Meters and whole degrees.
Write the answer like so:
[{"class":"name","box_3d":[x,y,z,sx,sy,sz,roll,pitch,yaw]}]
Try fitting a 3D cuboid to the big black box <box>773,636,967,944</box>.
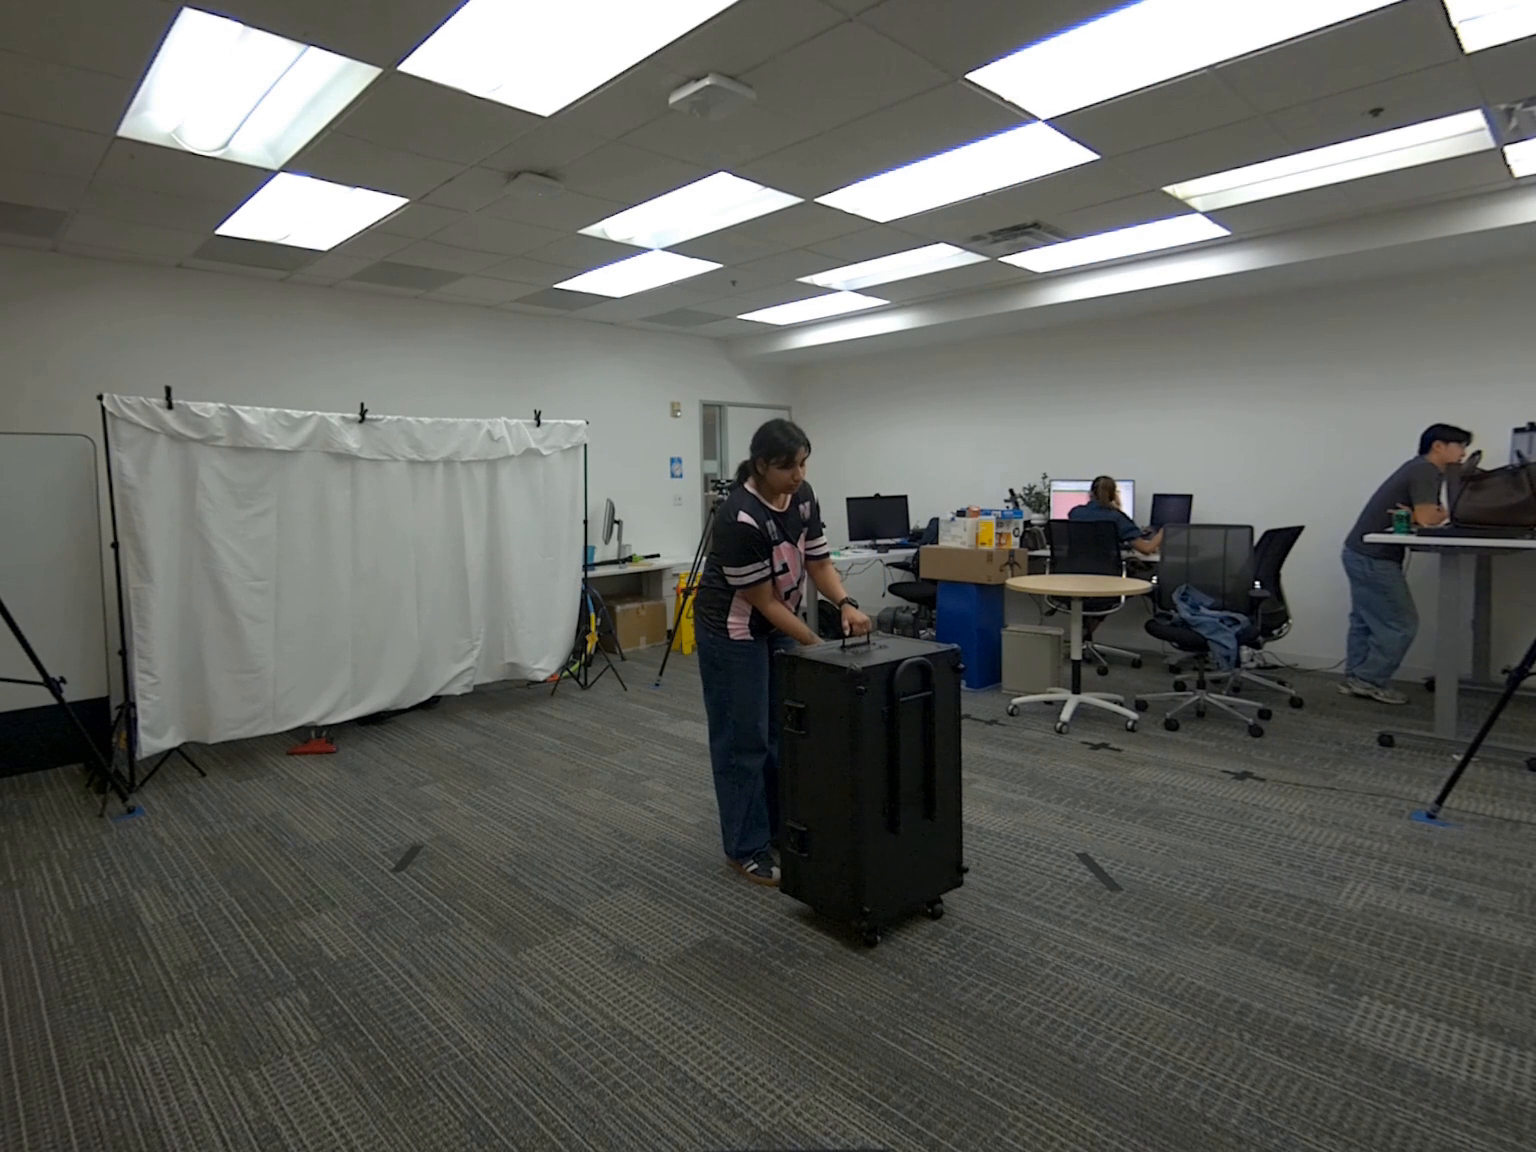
[{"class":"big black box","box_3d":[0.346,0.664,2.731,0.510,0.866,0.396,-5,4,-39]}]
